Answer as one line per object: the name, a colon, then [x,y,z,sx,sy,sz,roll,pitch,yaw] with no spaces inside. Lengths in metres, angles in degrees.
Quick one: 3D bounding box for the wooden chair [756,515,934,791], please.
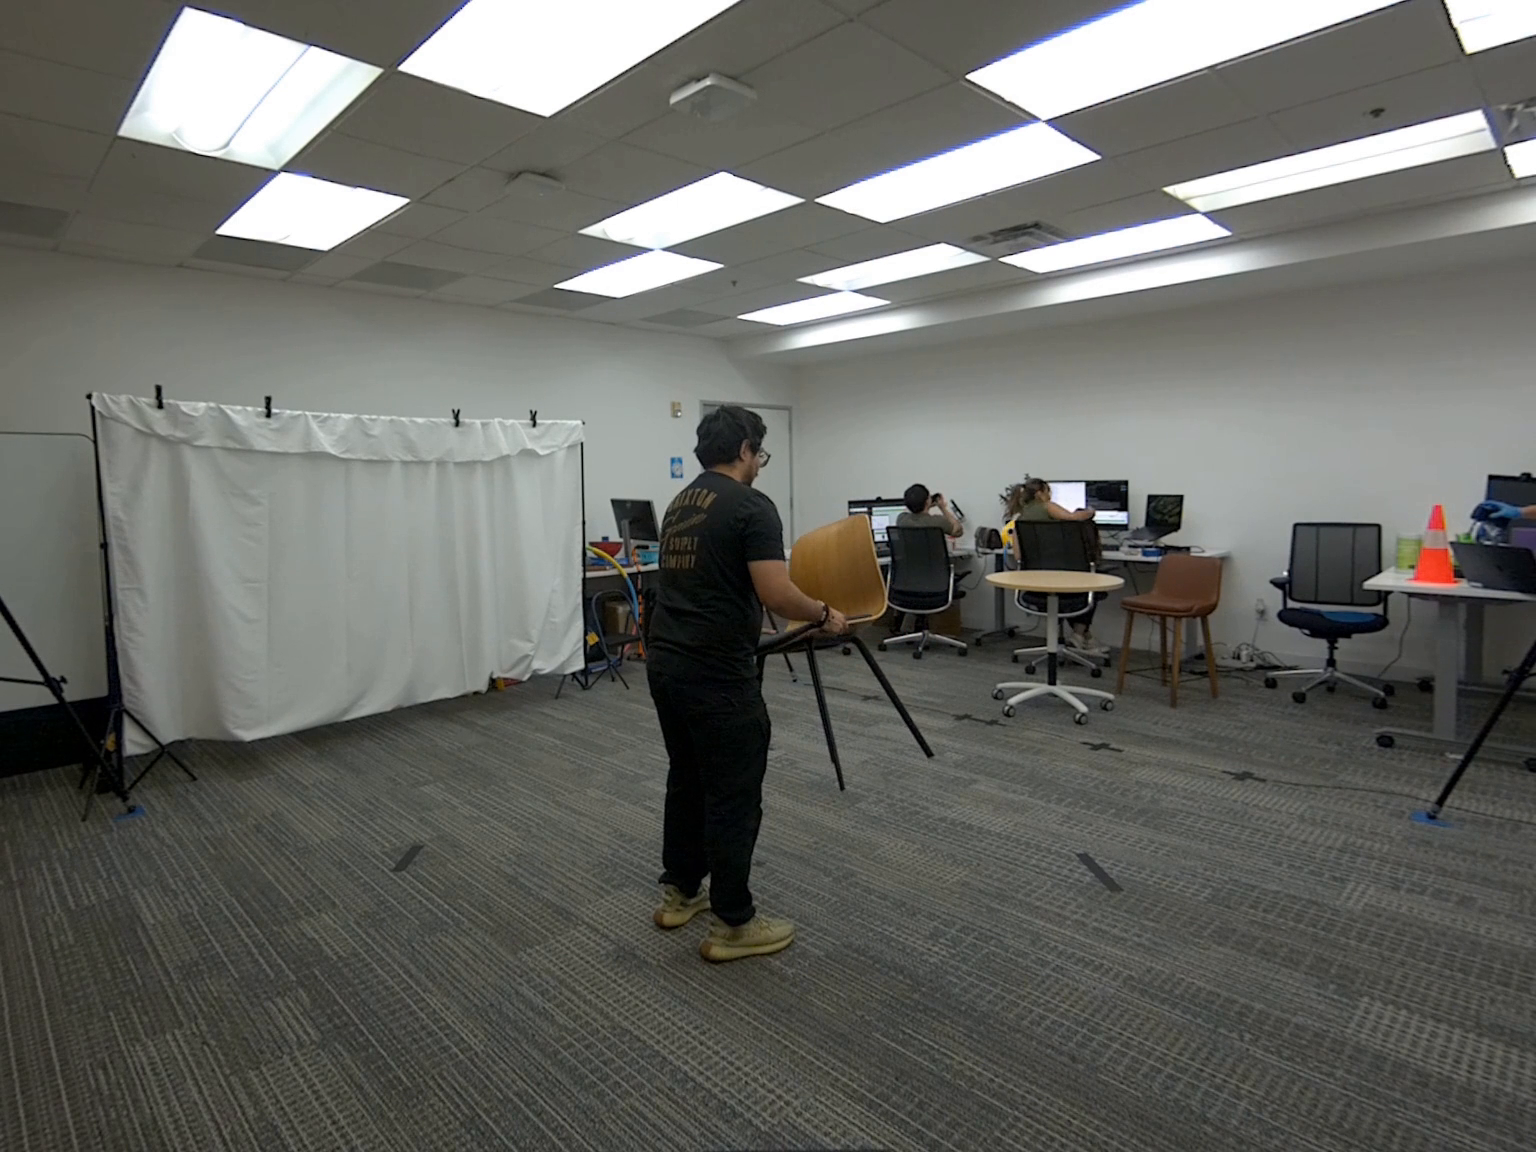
wooden chair: [0.141,0.237,2.835,0.508,0.888,0.486,1,-14,-41]
